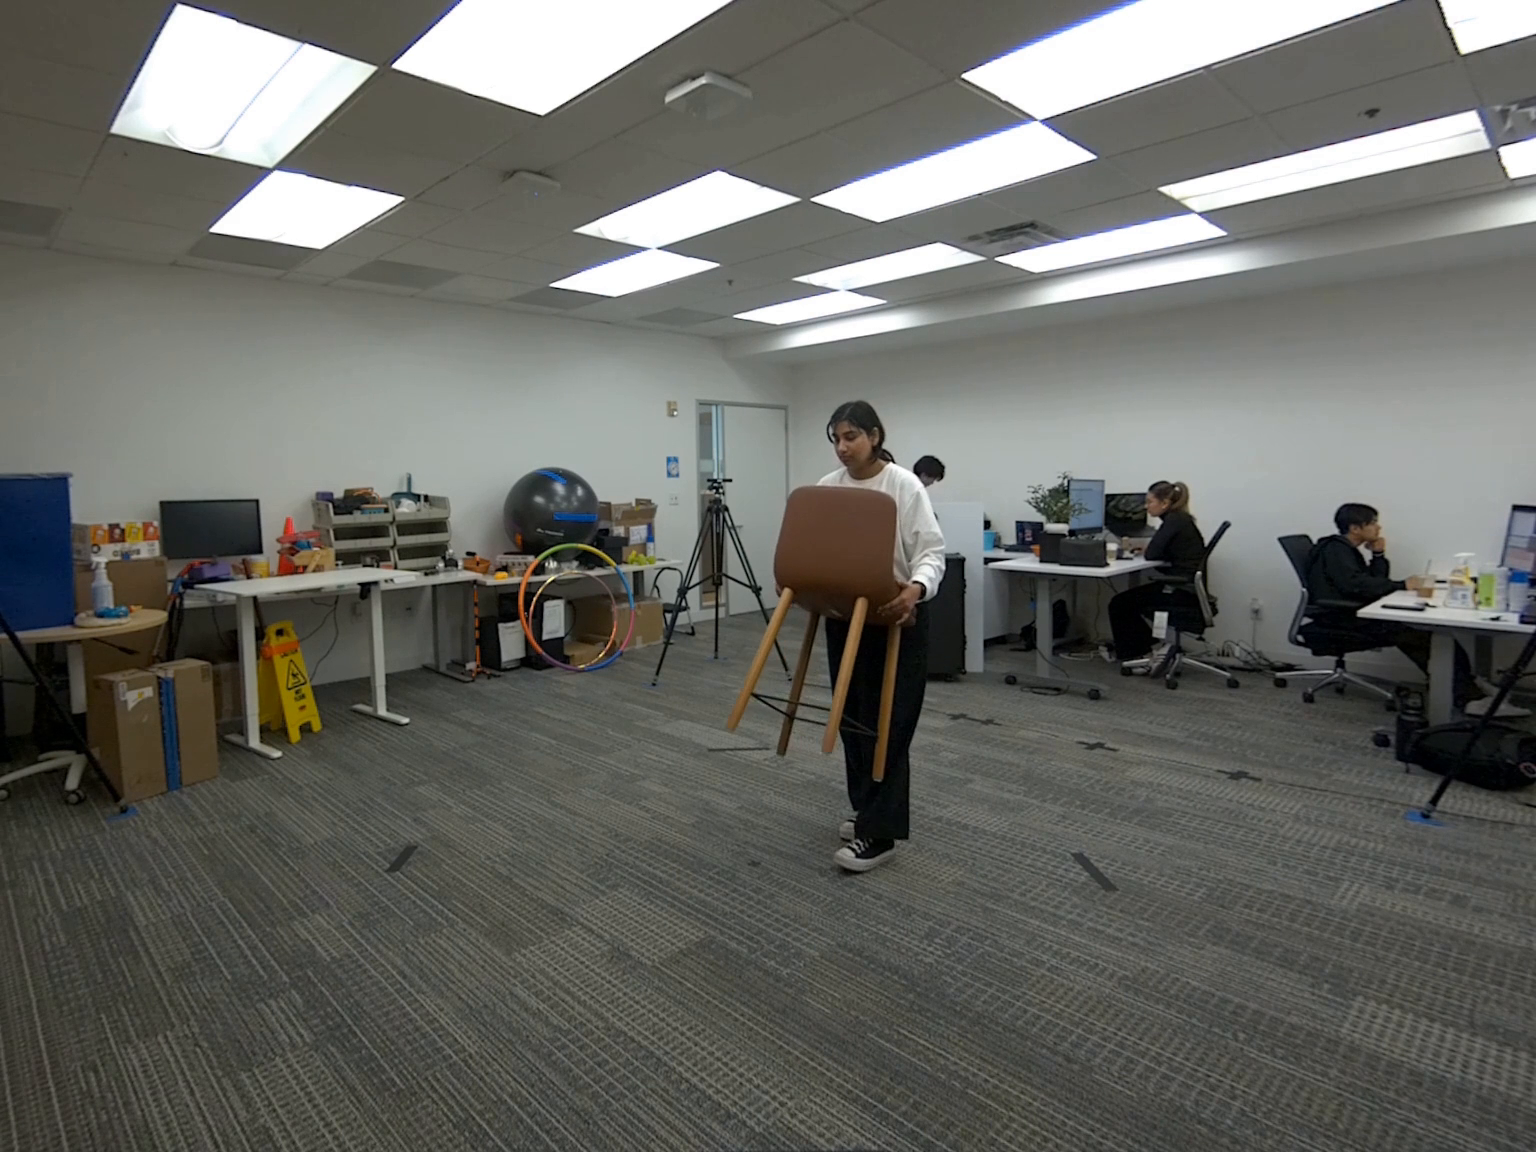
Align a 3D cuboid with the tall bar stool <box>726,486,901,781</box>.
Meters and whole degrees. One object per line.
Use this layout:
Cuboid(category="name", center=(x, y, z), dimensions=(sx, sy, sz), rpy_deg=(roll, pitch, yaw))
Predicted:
Cuboid(category="tall bar stool", center=(0.227, 0.190, 2.967), dimensions=(0.469, 0.898, 0.450), rpy_deg=(5, -19, 31))
